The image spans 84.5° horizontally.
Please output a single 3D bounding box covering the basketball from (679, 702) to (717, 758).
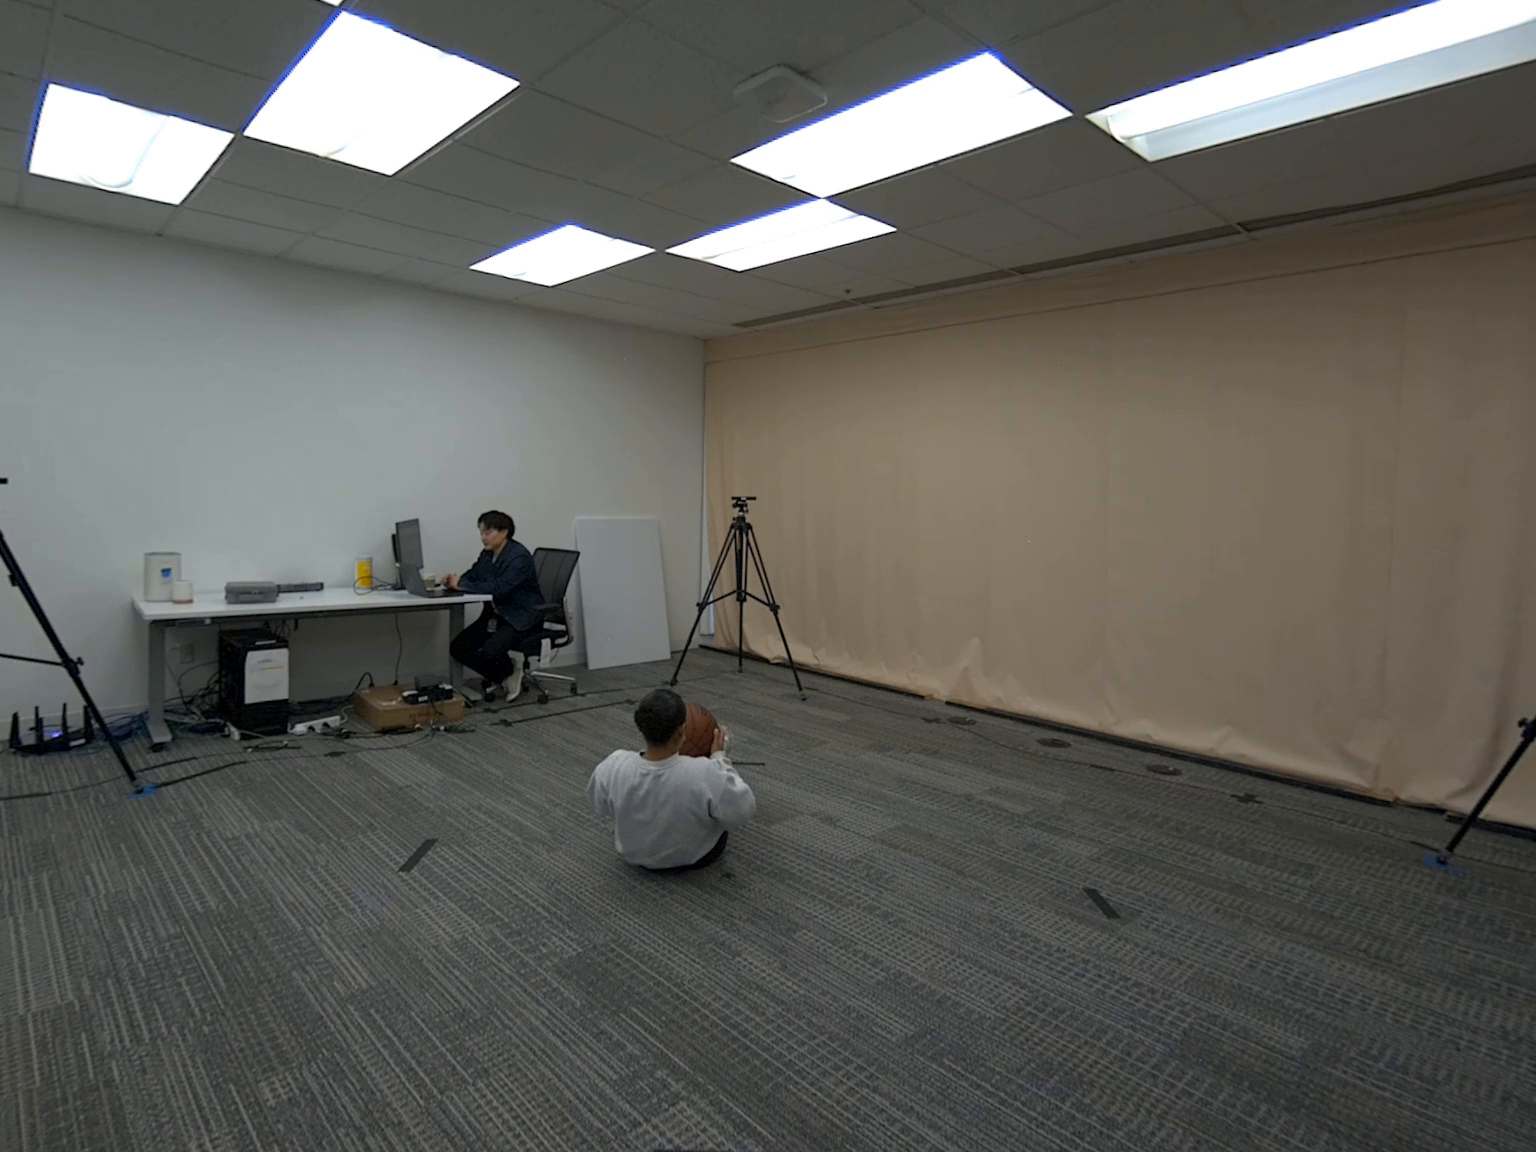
[{"bbox_3d":[-0.321,0.624,3.329,0.236,0.235,0.237,1,4,-1],"label":"basketball"}]
